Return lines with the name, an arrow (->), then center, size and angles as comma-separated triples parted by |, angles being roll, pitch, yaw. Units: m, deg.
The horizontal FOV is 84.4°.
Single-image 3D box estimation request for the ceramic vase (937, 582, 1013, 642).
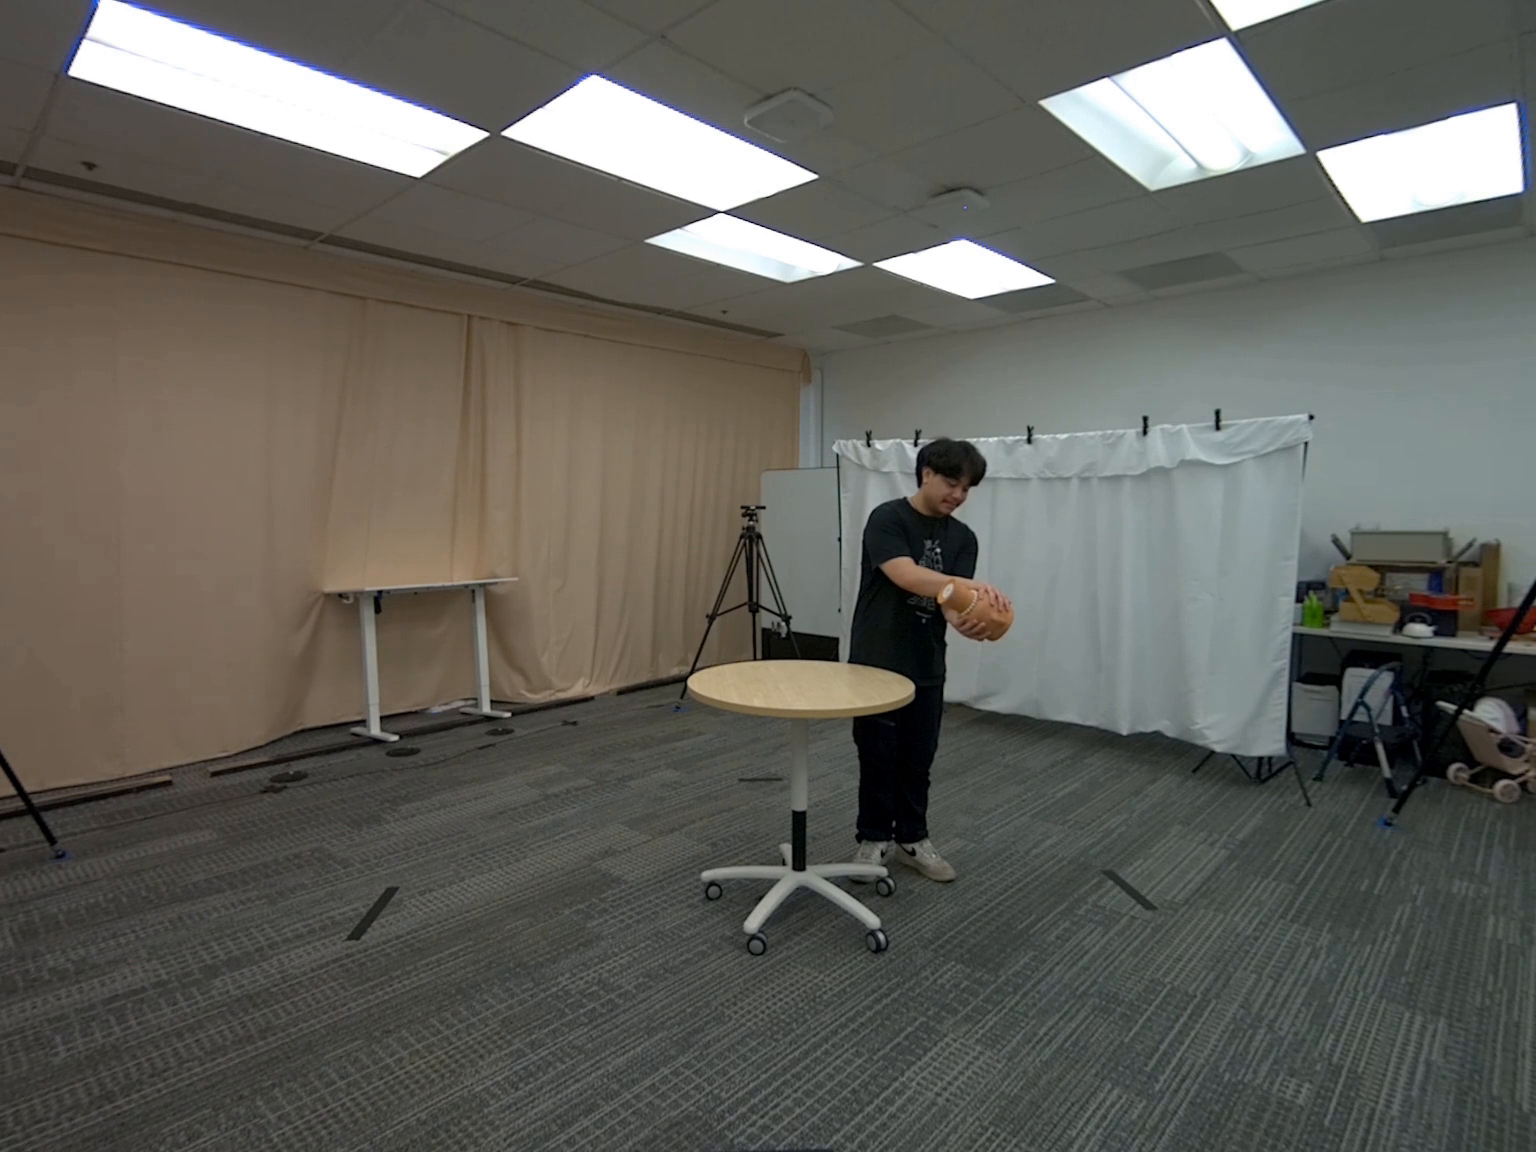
ceramic vase -> 0.679, 0.104, 2.763 | 0.218, 0.135, 0.160 | 31, -36, -8
